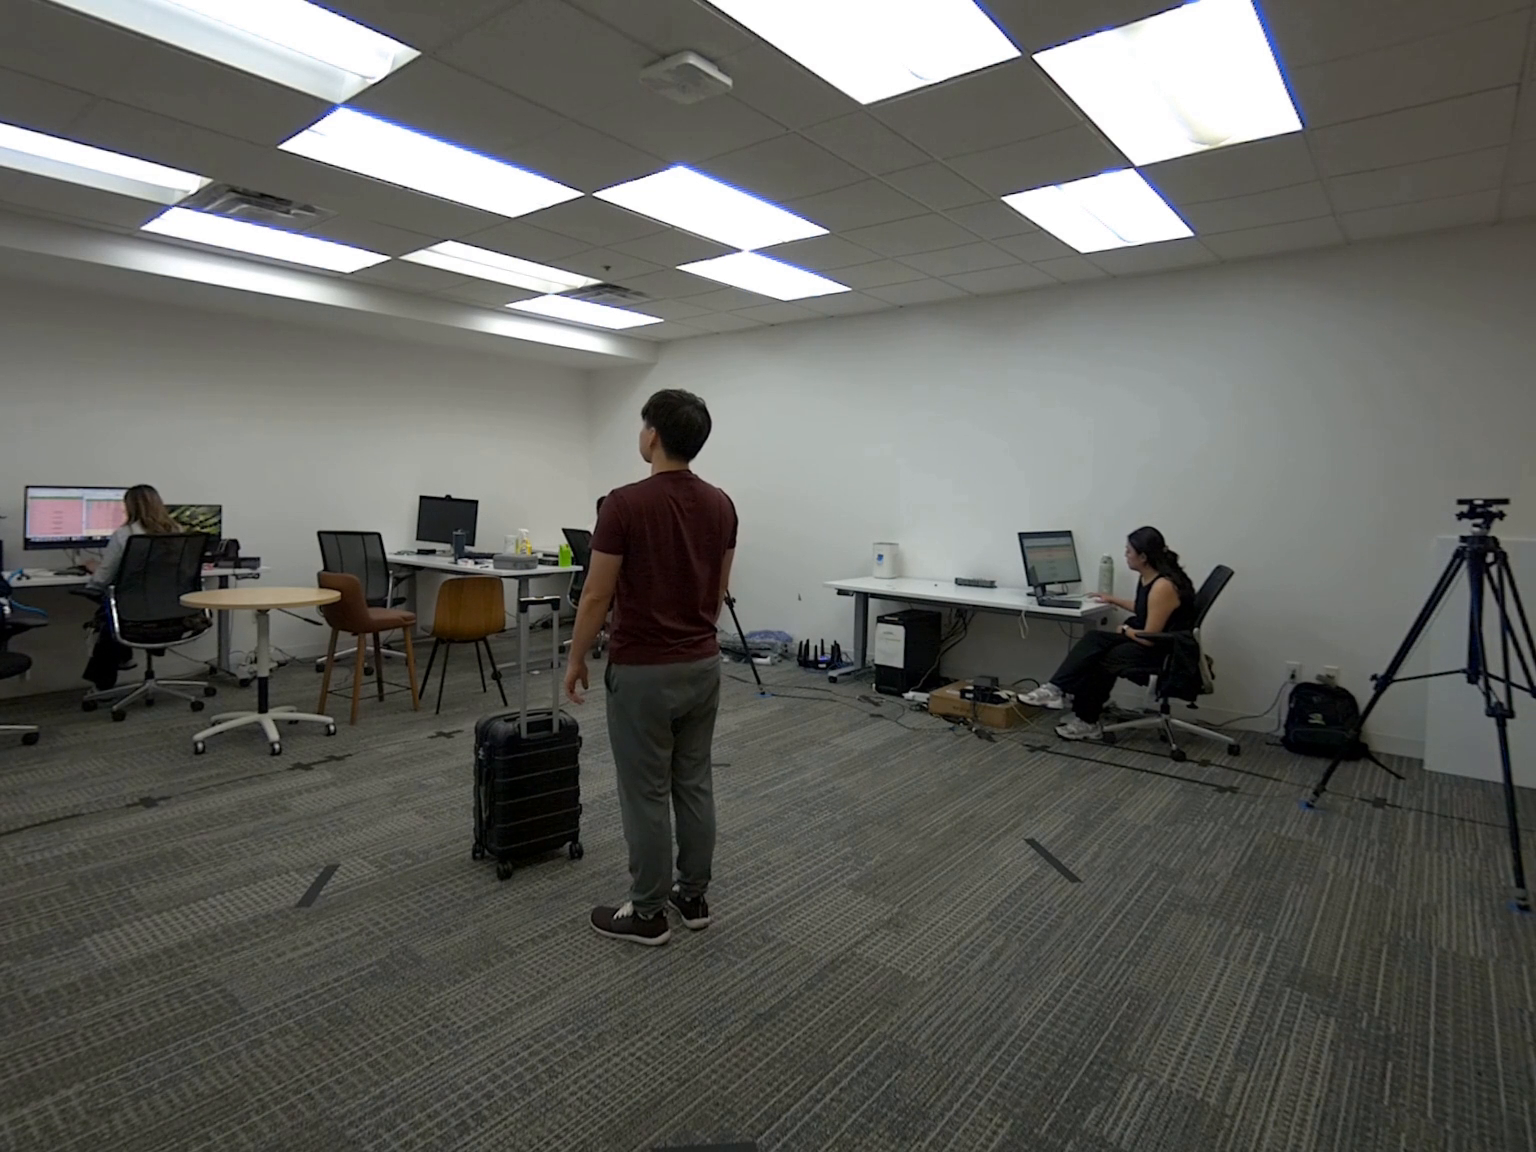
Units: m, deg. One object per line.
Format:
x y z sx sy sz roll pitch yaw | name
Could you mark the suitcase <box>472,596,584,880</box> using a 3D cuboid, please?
-0.922 0.575 3.189 0.373 0.979 0.264 0 -1 -36 | suitcase
